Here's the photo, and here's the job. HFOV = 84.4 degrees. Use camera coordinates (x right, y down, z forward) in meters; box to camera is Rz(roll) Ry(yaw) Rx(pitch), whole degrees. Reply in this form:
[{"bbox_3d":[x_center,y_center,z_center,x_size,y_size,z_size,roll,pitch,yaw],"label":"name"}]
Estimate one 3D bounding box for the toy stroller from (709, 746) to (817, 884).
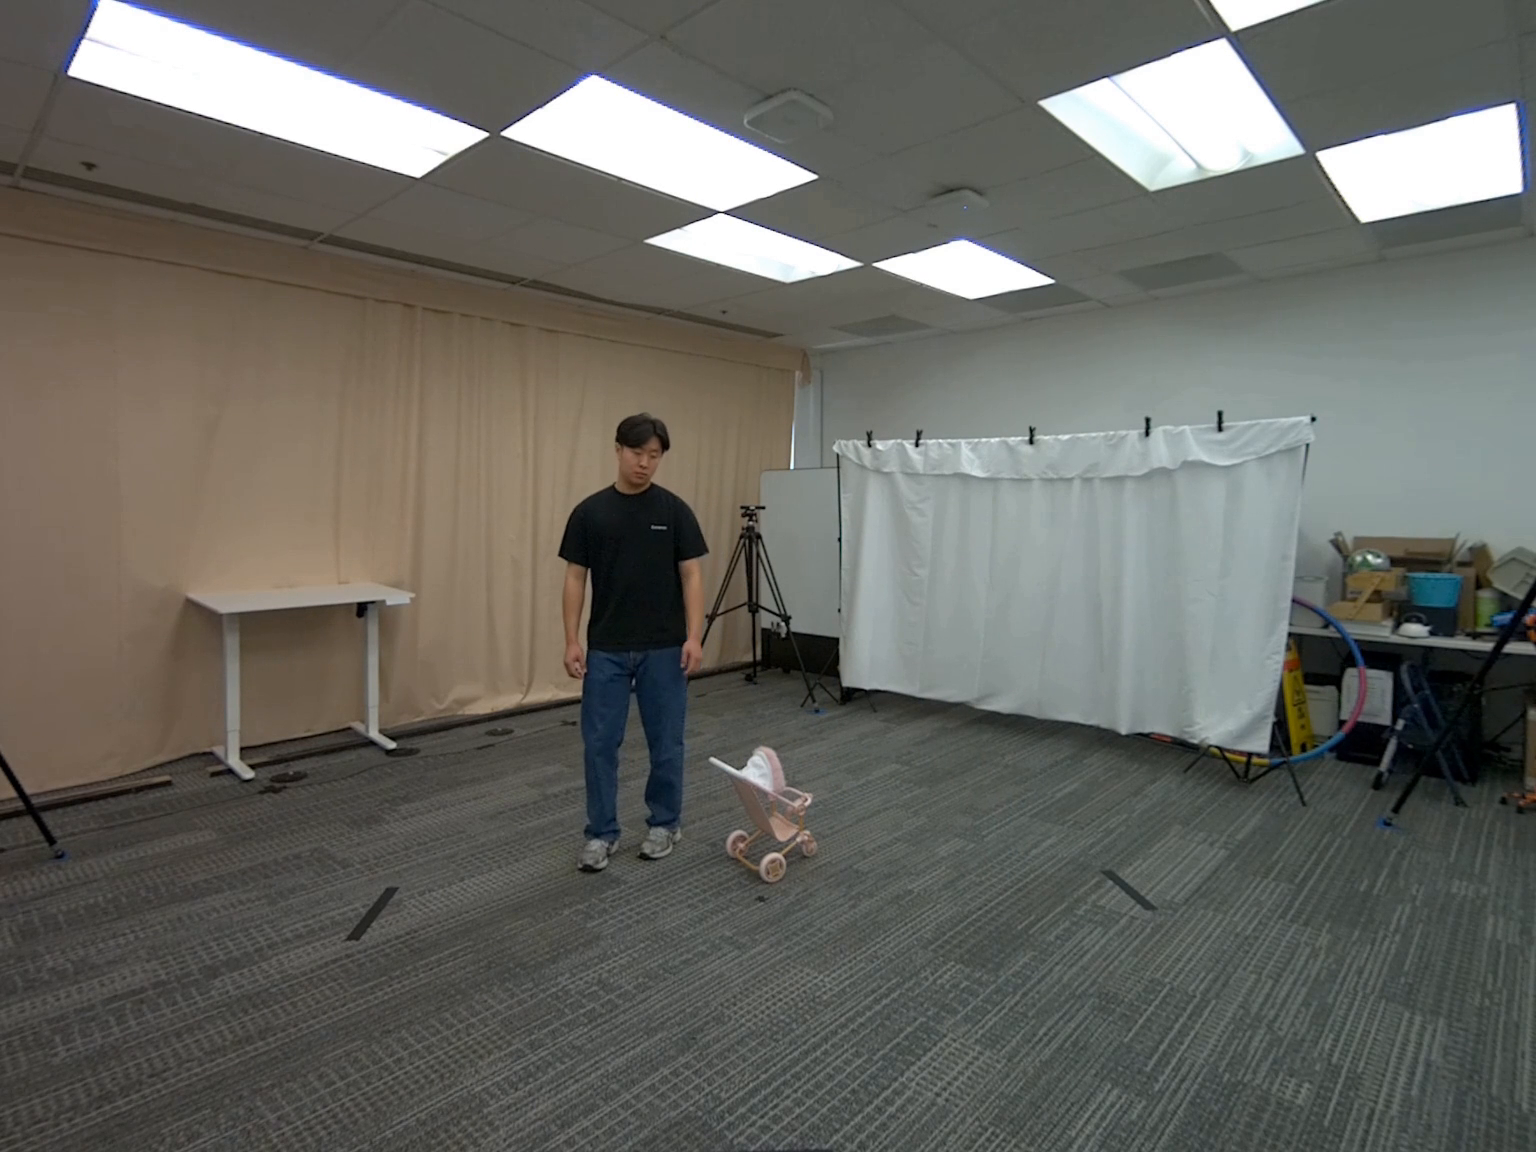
[{"bbox_3d":[0.011,0.893,3.239,0.335,0.531,0.289,-18,10,-25],"label":"toy stroller"}]
